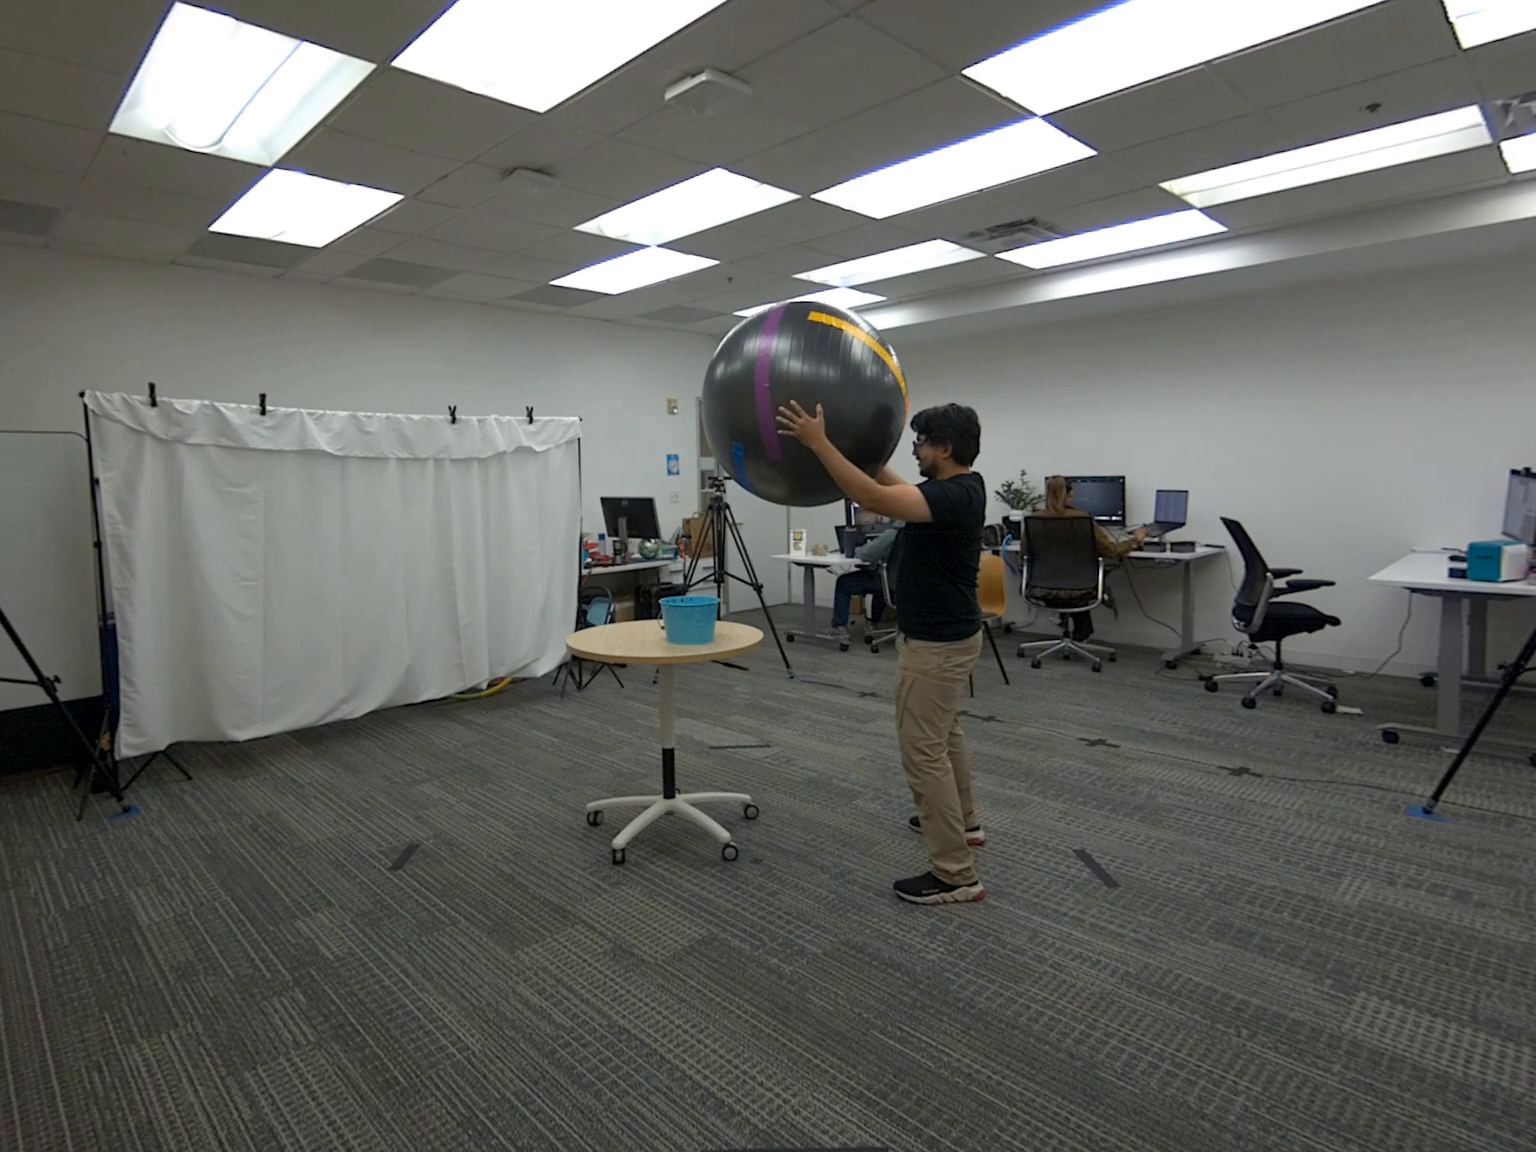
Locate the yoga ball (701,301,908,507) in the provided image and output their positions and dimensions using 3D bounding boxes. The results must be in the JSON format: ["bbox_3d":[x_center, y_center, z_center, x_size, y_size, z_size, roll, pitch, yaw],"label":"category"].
[{"bbox_3d":[0.134,-0.625,3.173,0.757,0.755,0.762,-1,5,-2],"label":"yoga ball"}]
